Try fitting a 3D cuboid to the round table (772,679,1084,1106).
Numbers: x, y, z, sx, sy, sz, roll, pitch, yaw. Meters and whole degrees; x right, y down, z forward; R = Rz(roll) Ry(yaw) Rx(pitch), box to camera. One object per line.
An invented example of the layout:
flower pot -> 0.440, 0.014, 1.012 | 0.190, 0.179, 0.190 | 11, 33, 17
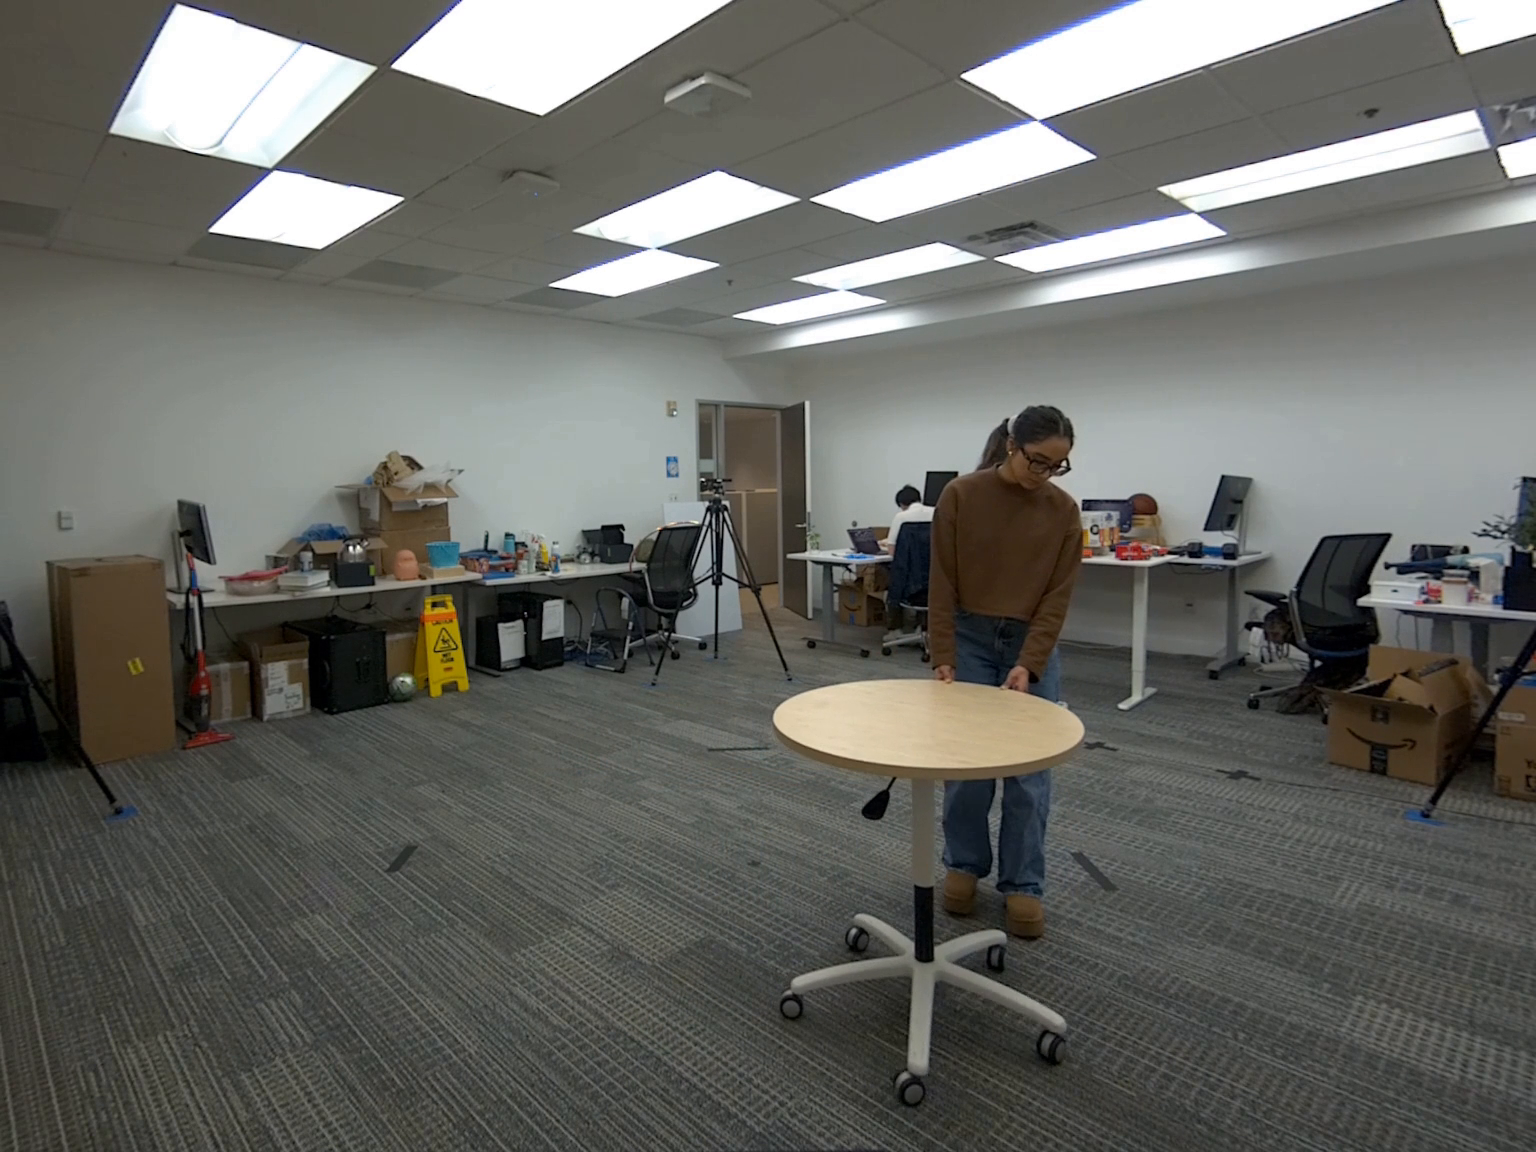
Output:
round table -> 0.409, 0.752, 2.216 | 0.763, 0.790, 0.768 | -1, 6, -2
